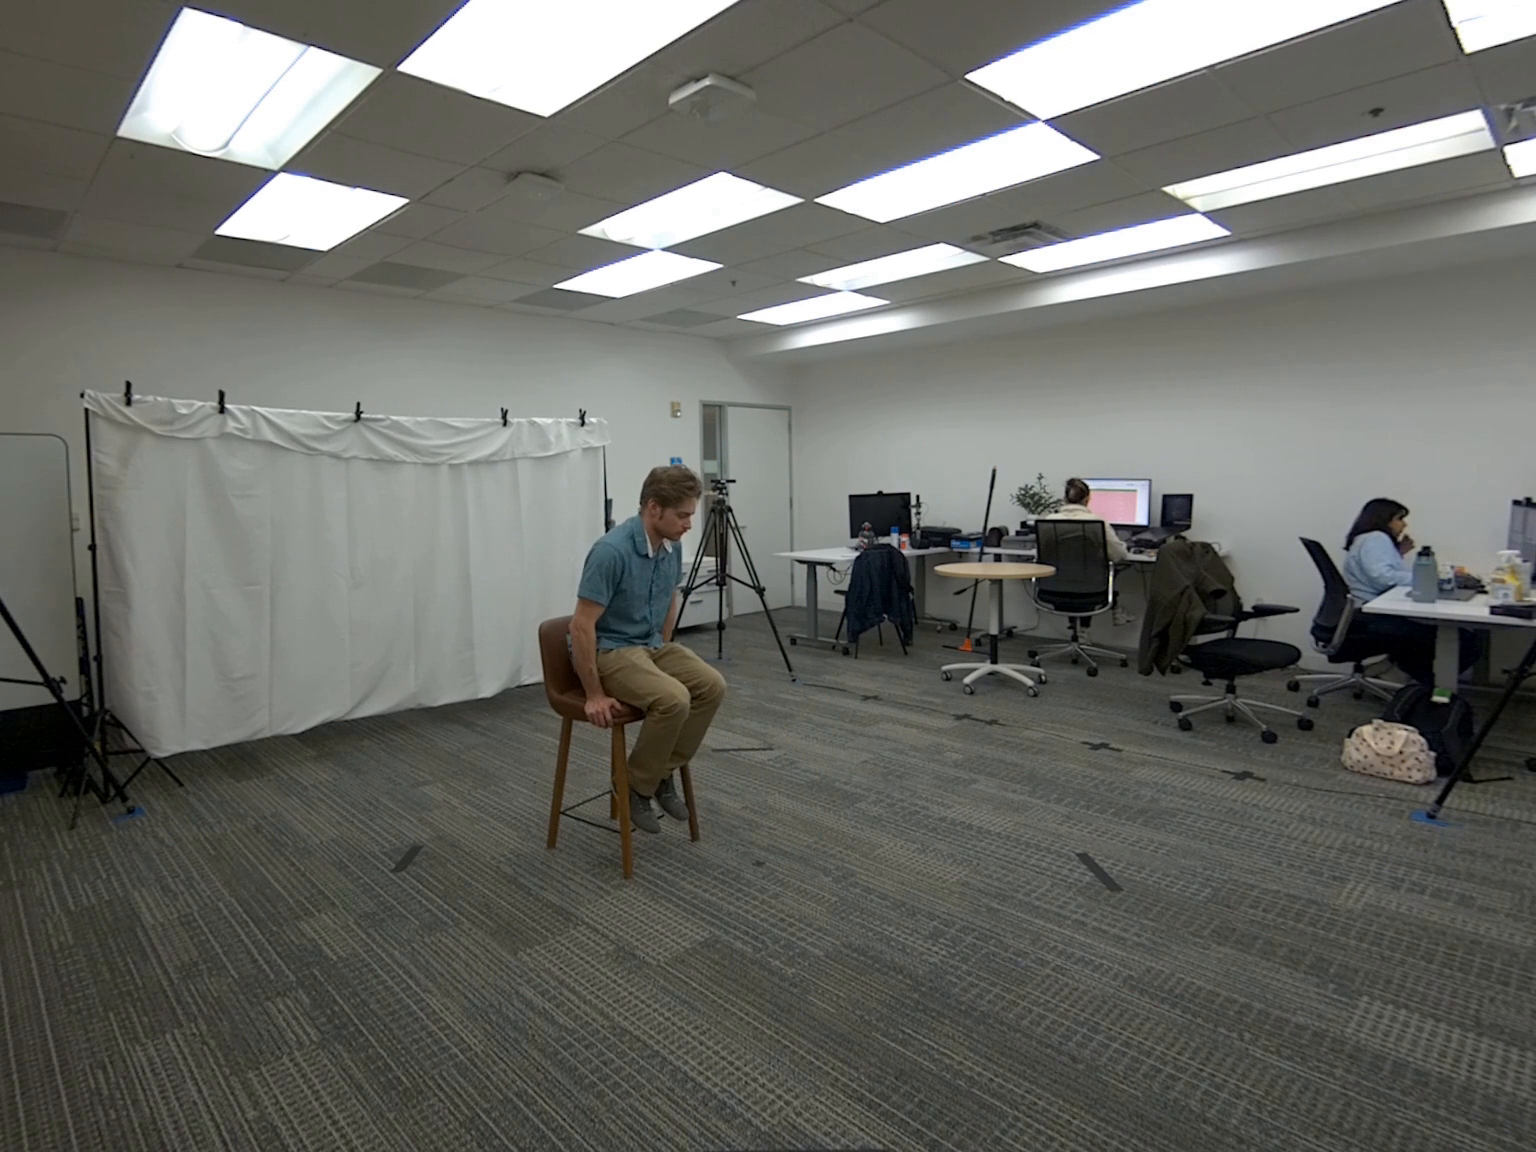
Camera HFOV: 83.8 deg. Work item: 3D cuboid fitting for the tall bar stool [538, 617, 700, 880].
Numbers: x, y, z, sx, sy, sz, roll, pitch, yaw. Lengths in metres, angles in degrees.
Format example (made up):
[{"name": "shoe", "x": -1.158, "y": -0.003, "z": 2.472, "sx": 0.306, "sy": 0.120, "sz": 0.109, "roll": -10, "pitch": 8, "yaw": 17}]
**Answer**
[{"name": "tall bar stool", "x": -0.576, "y": 0.602, "z": 3.279, "sx": 0.480, "sy": 0.888, "sz": 0.445, "roll": -1, "pitch": 3, "yaw": 36}]
